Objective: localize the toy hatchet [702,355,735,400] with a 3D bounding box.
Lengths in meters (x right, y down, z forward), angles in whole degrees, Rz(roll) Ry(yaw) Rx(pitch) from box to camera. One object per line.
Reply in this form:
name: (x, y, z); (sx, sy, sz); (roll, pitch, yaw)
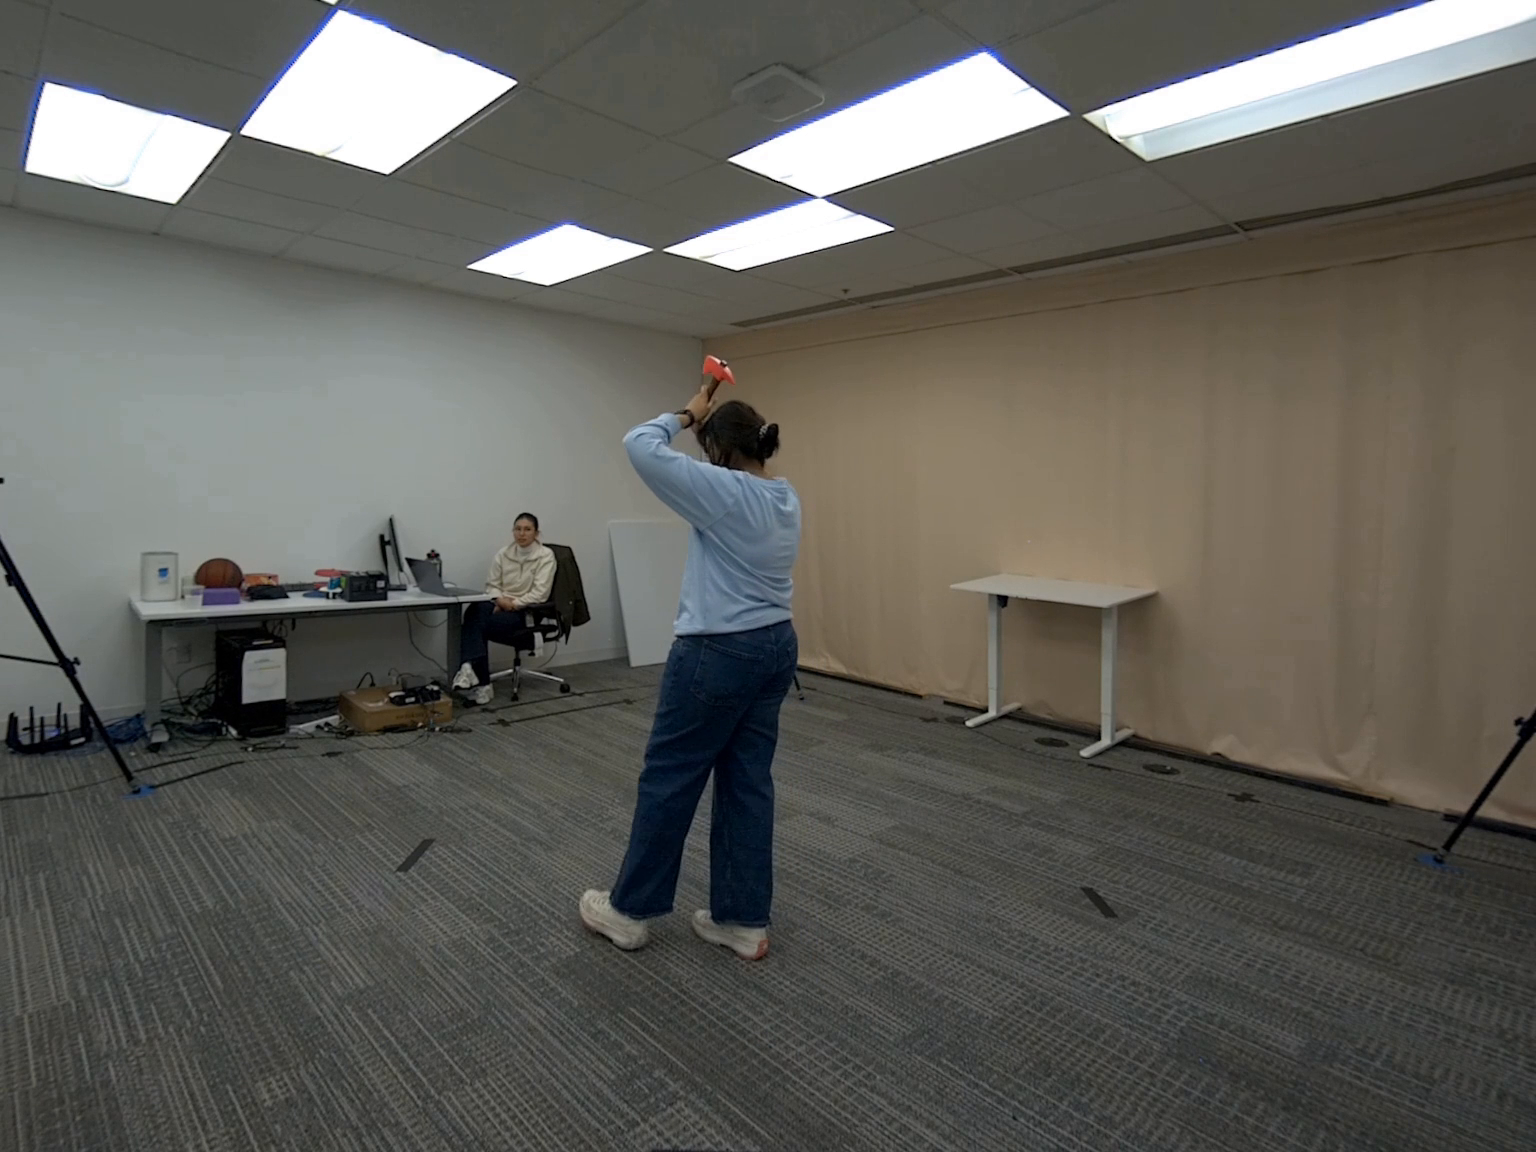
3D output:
toy hatchet: (-0.220, -0.590, 2.639); (0.029, 0.132, 0.272); (-17, -11, -47)
